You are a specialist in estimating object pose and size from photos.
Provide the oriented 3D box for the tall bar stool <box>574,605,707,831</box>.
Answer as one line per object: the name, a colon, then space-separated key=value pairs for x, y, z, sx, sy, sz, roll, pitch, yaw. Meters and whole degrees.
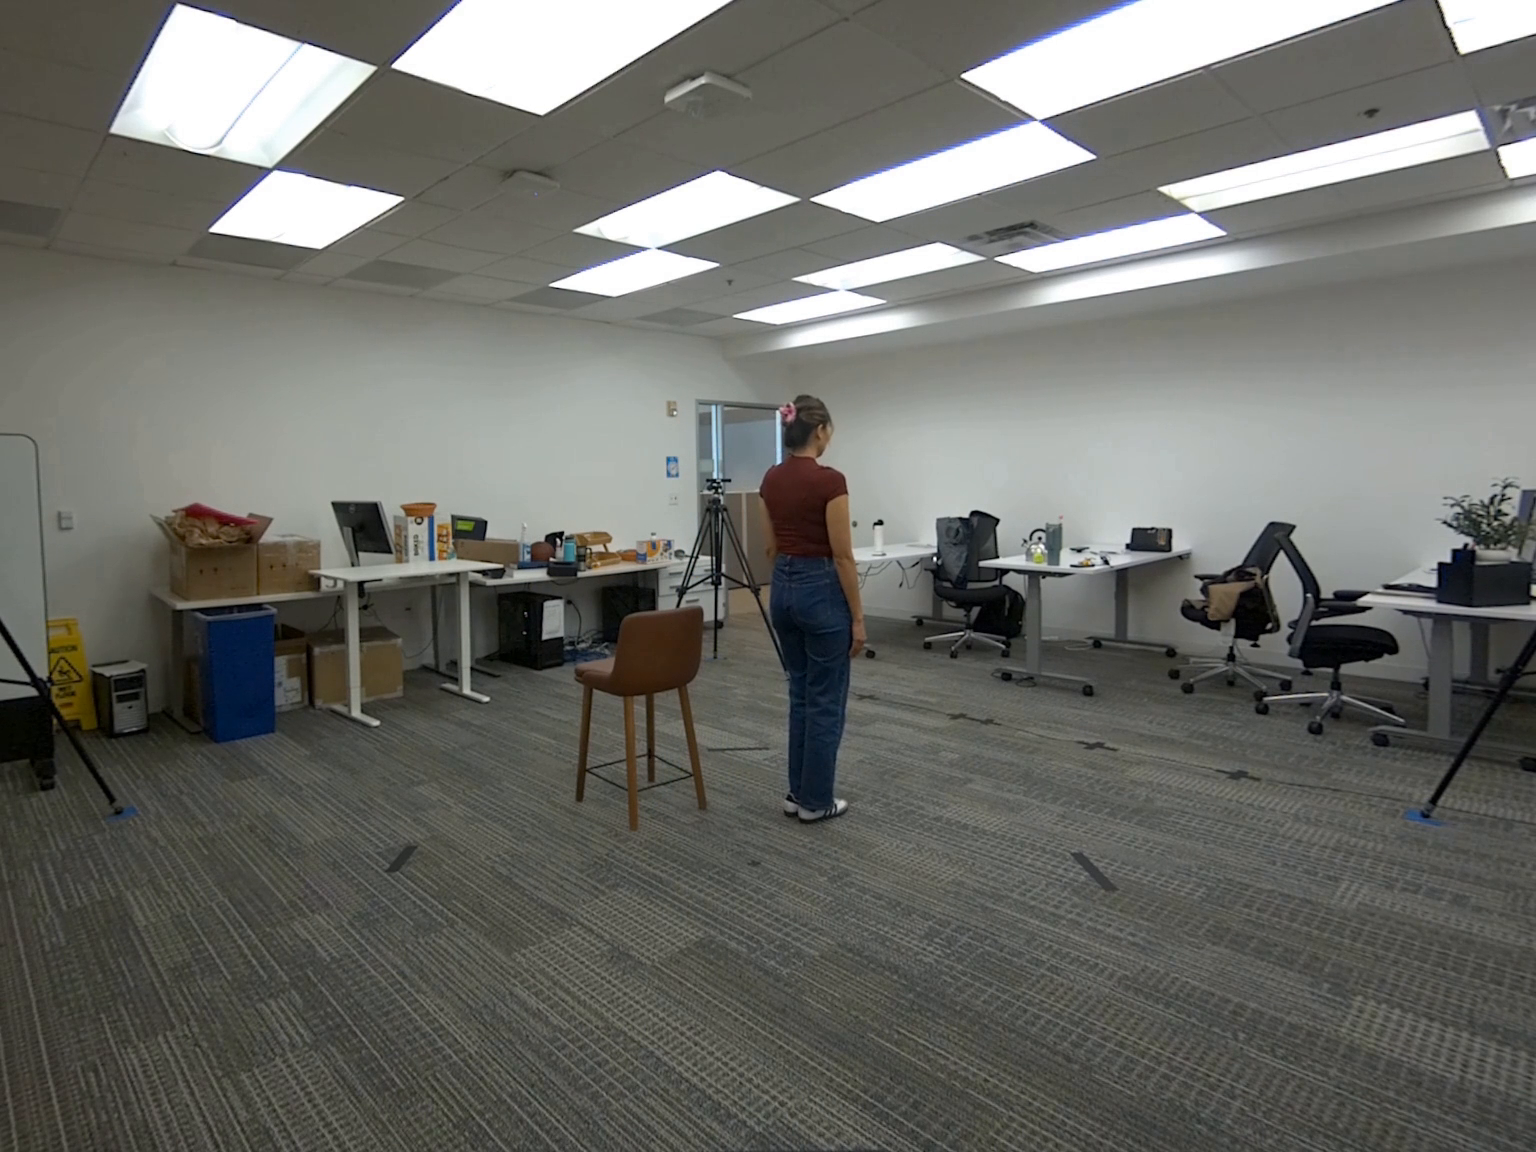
tall bar stool: x=-0.550 y=0.555 z=3.673 sx=0.444 sy=0.886 sz=0.482 roll=-4 pitch=6 yaw=-40
